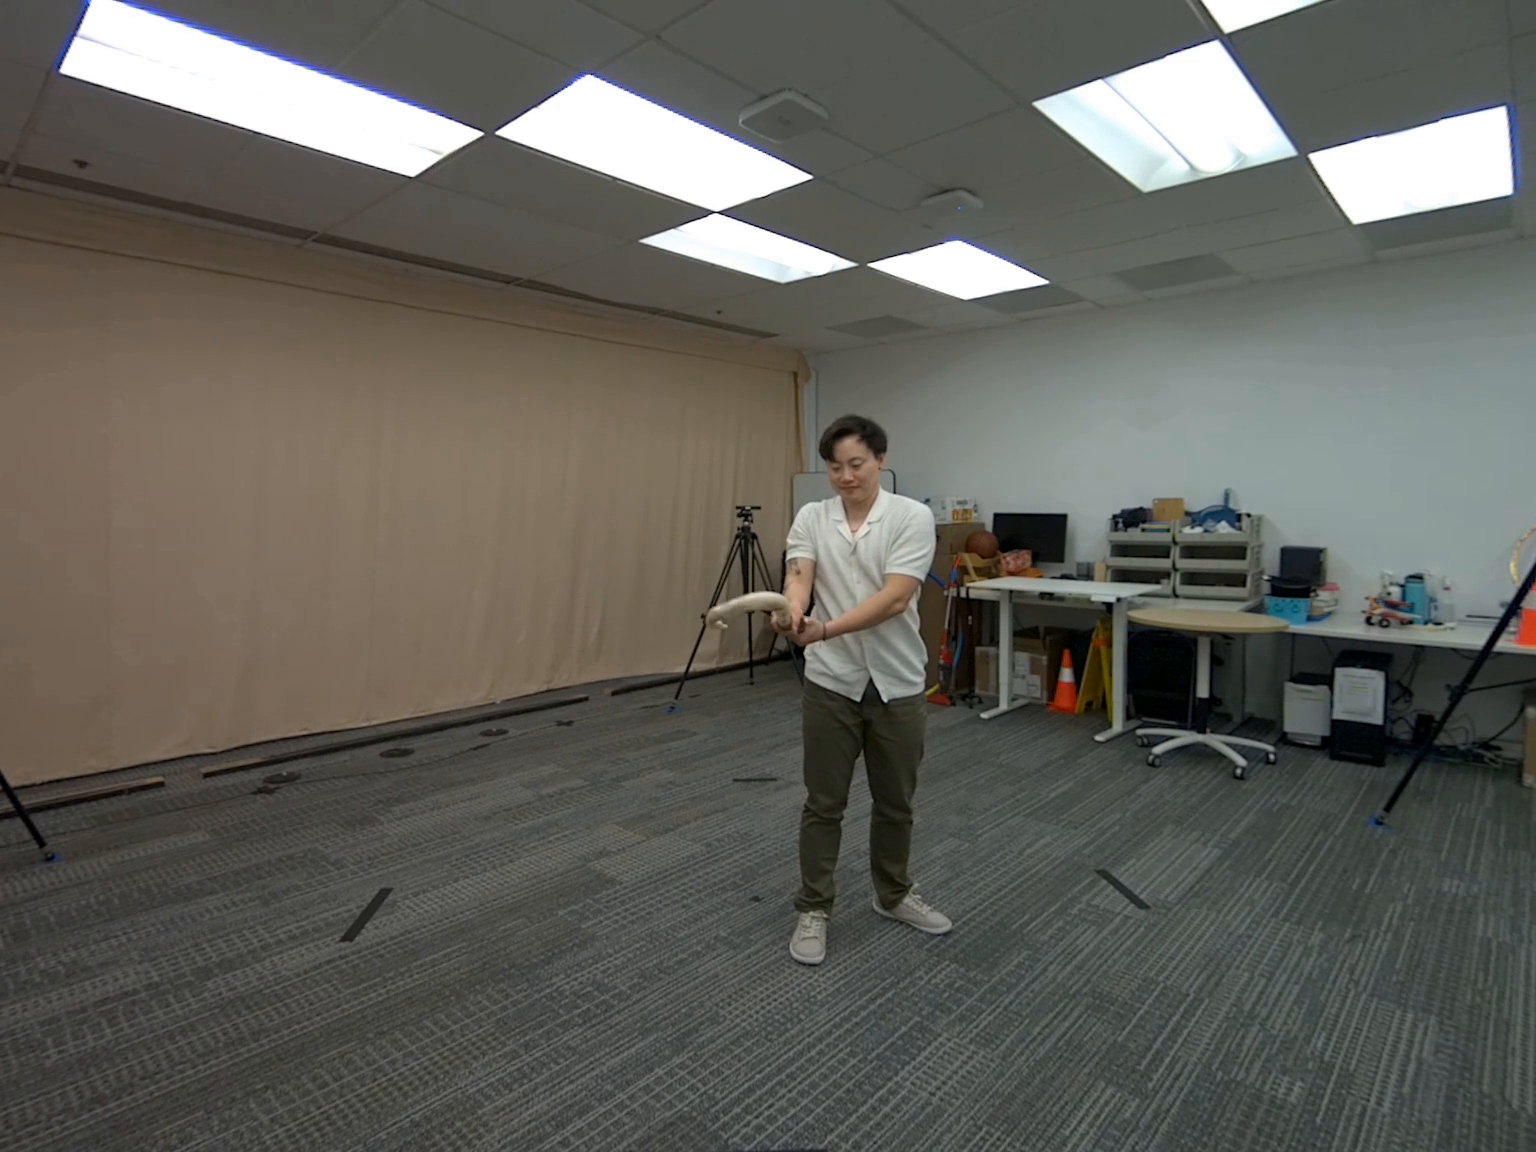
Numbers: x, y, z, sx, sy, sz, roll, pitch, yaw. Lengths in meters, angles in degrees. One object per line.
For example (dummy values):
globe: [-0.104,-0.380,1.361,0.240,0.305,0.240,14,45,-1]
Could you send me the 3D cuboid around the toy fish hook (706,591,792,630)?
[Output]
toy fish hook: [-0.012,0.124,2.273,0.228,0.049,0.492,-13,-18,16]
